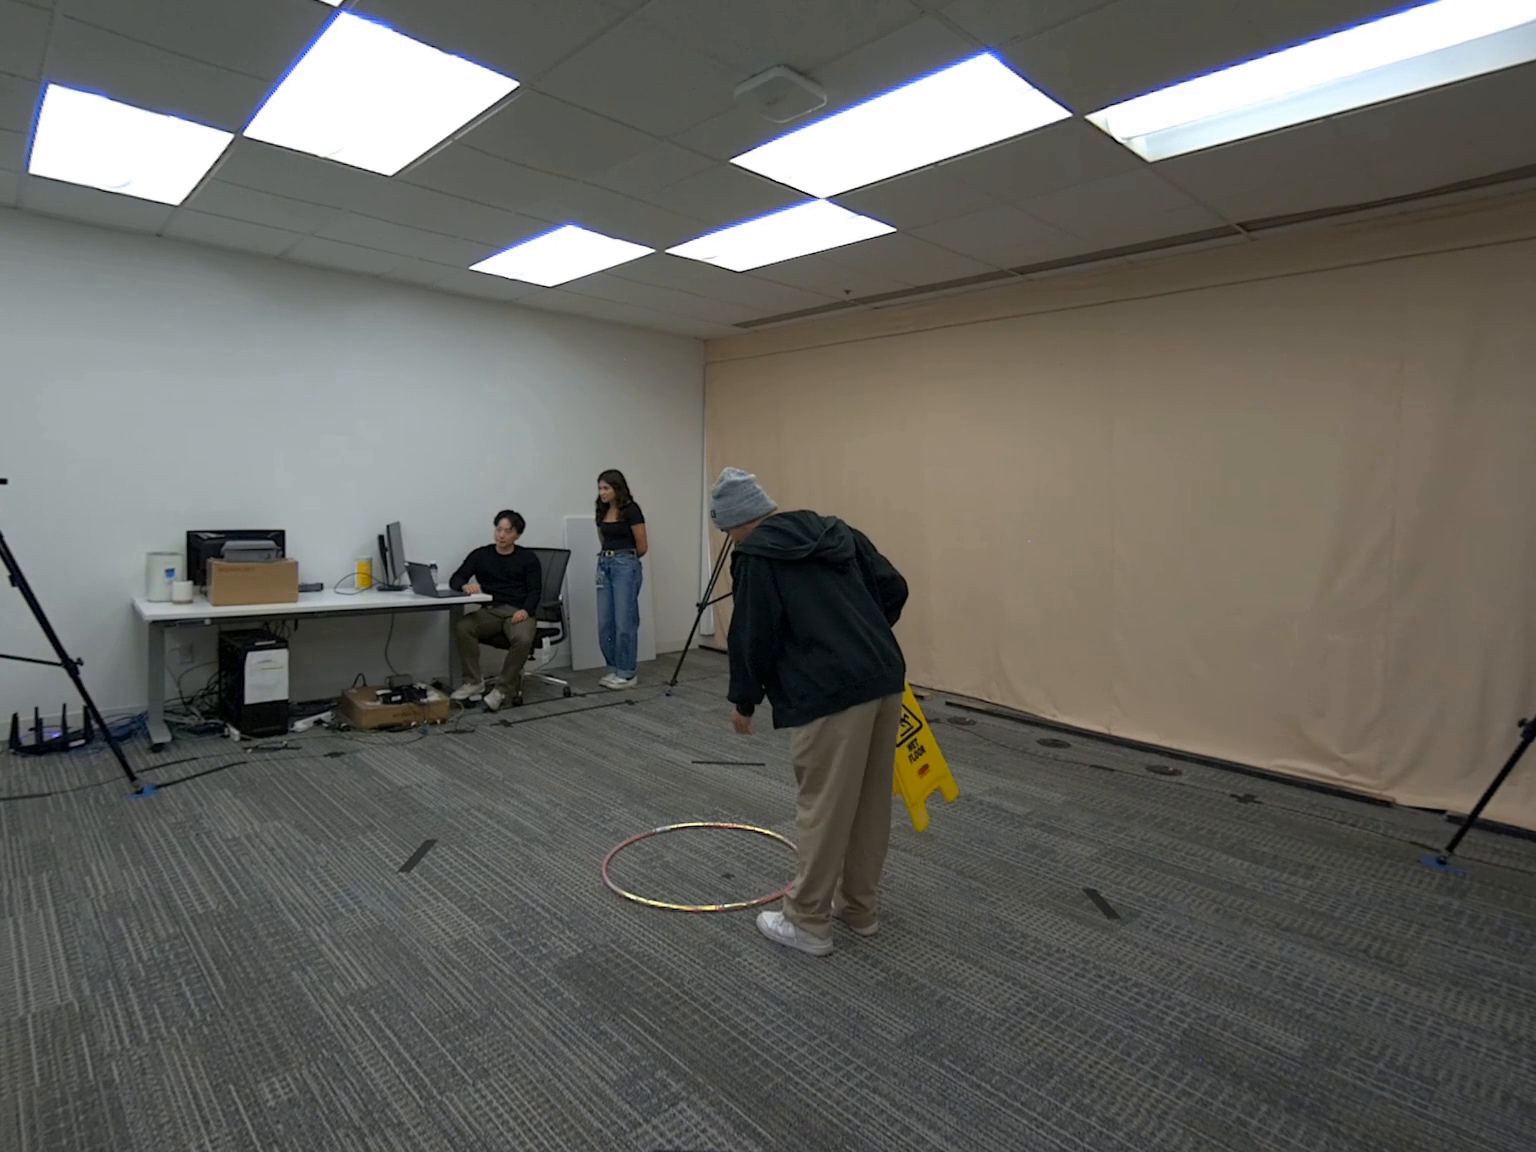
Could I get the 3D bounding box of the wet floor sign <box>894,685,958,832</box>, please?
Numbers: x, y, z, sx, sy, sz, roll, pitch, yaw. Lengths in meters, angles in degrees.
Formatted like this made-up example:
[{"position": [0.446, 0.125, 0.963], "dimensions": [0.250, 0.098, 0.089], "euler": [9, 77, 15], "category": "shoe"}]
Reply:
[{"position": [0.406, 0.538, 2.995], "dimensions": [0.295, 0.642, 0.278], "euler": [-9, 9, 44], "category": "wet floor sign"}]
